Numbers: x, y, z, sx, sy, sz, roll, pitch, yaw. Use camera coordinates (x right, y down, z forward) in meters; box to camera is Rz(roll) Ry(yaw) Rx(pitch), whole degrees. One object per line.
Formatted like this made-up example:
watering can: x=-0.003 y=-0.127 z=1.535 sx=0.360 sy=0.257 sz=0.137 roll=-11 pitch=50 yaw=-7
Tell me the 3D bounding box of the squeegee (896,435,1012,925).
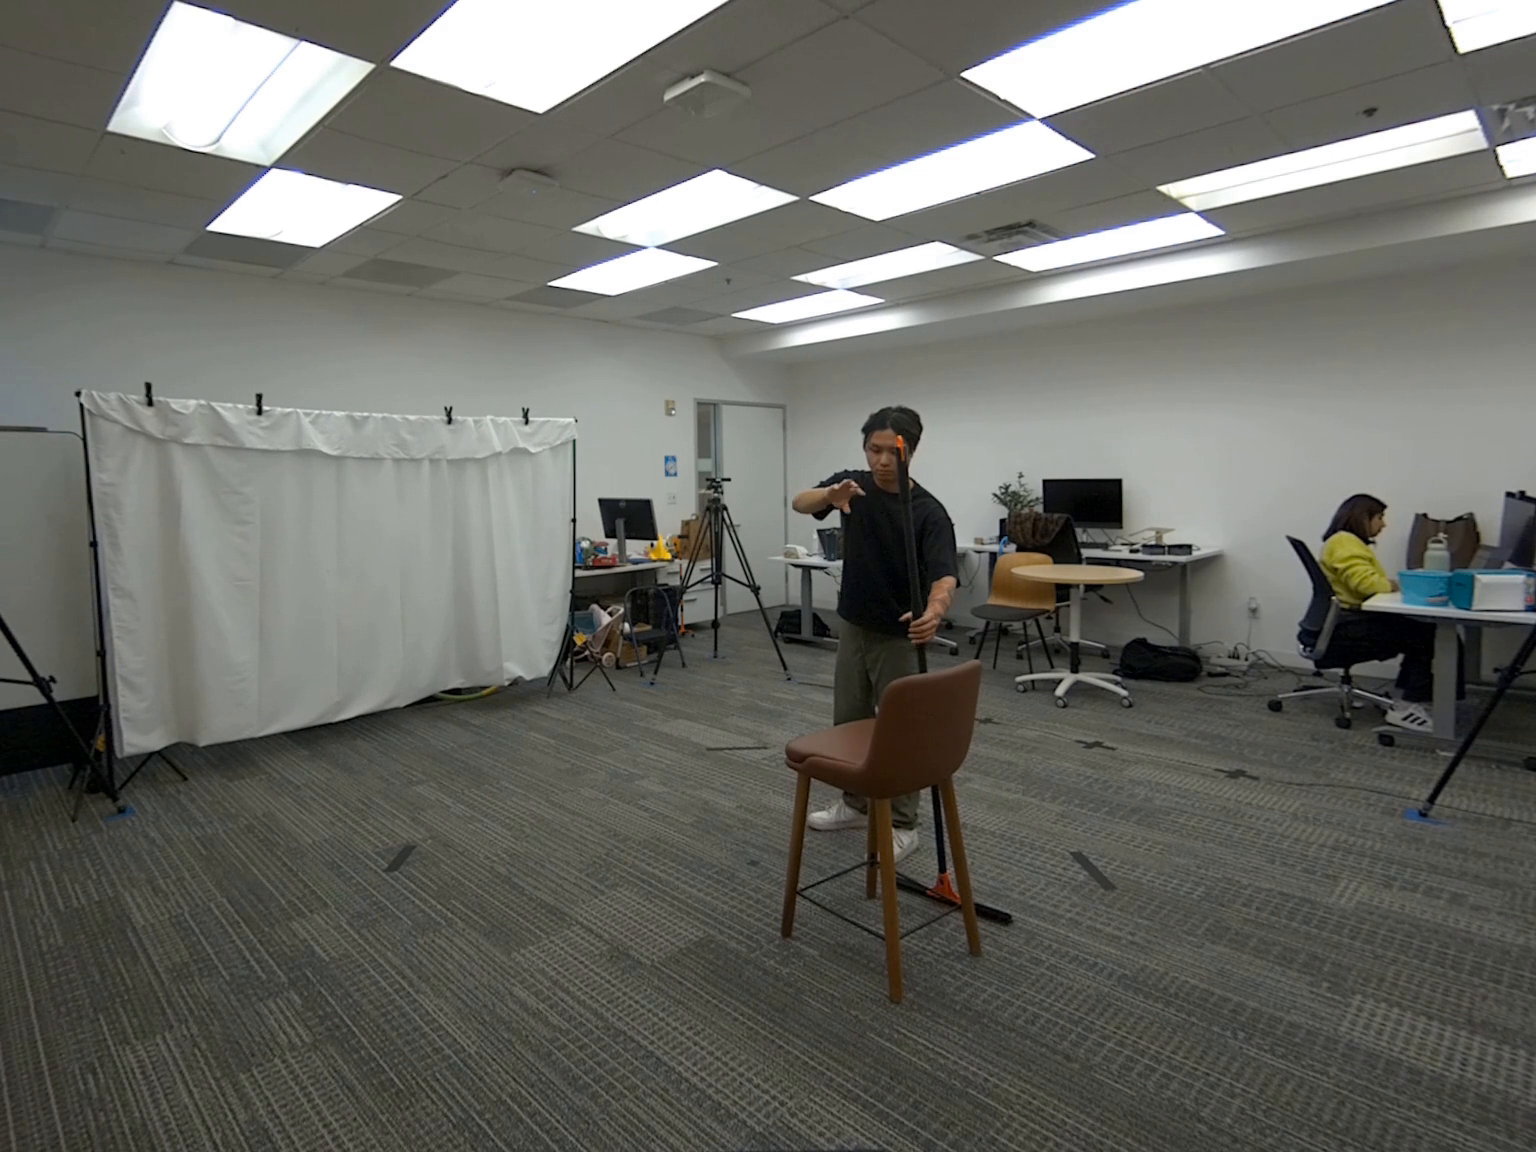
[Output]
squeegee: x=0.483 y=0.323 z=2.638 sx=0.052 sy=1.521 sz=0.451 roll=-15 pitch=14 yaw=-43
